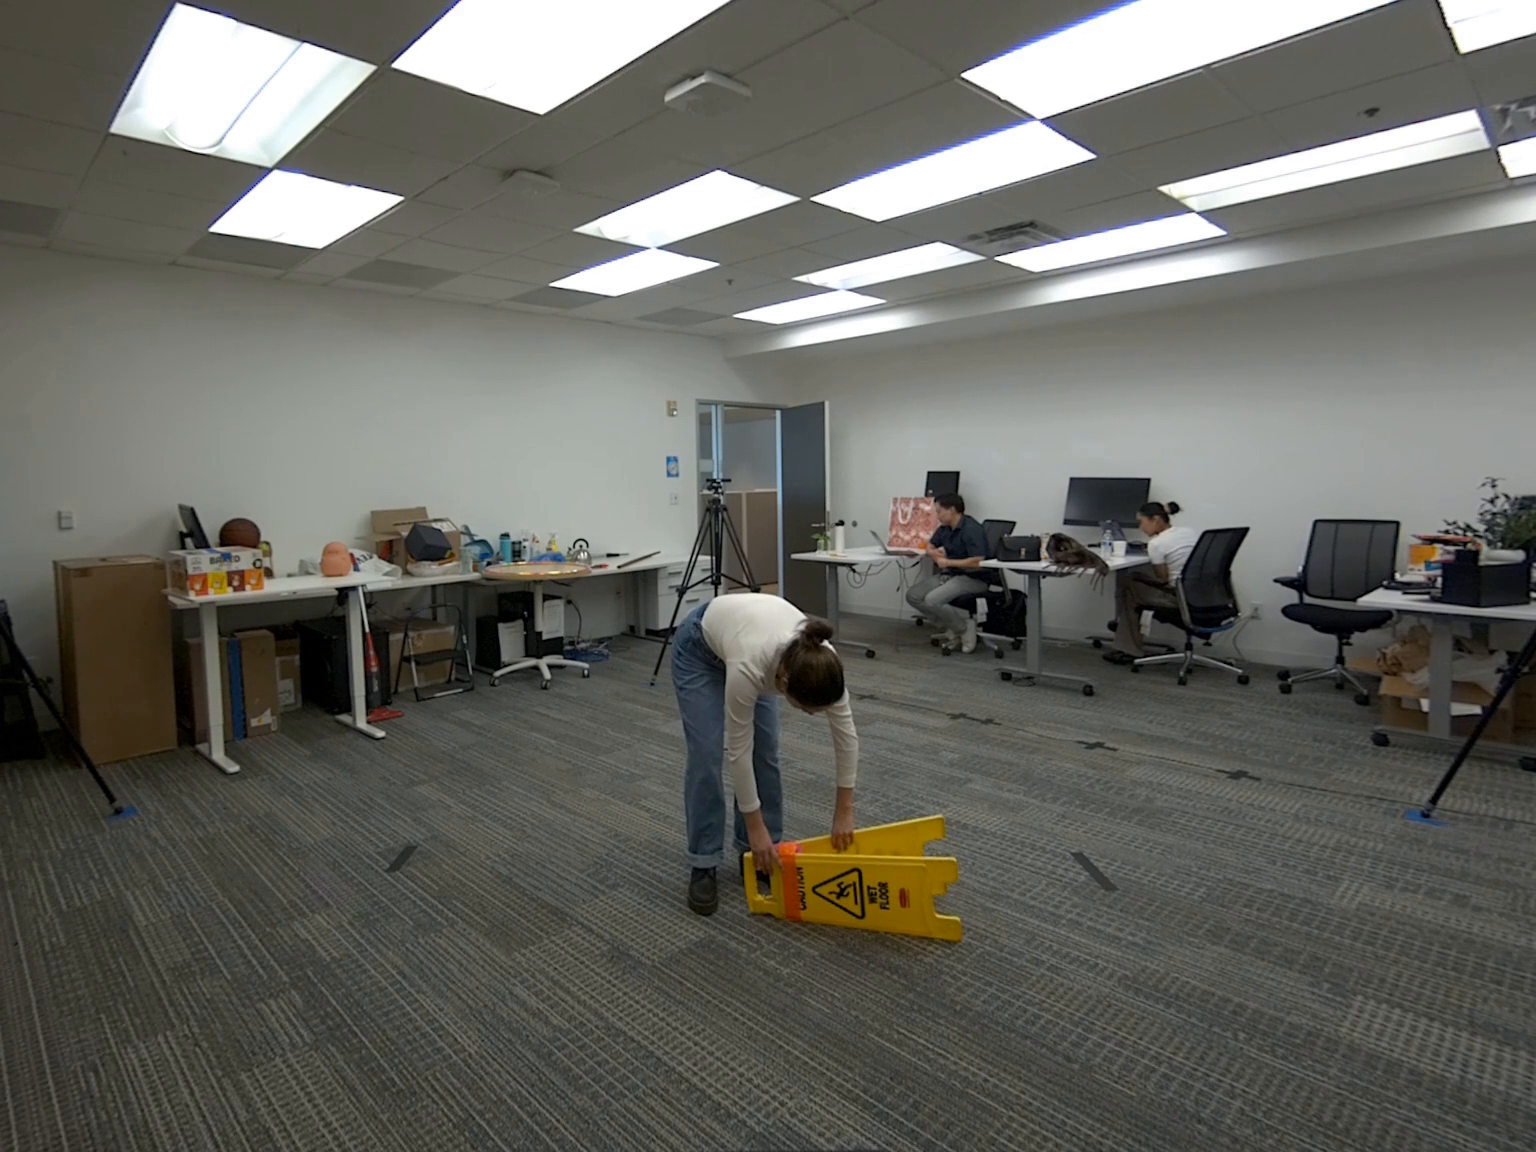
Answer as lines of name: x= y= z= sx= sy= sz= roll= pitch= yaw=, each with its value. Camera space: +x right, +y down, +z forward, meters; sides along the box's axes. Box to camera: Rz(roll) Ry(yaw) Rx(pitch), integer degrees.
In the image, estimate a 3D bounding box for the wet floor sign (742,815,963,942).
wet floor sign: x=0.253 y=0.952 z=2.693 sx=0.650 sy=0.279 sz=0.291 roll=-6 pitch=11 yaw=6
